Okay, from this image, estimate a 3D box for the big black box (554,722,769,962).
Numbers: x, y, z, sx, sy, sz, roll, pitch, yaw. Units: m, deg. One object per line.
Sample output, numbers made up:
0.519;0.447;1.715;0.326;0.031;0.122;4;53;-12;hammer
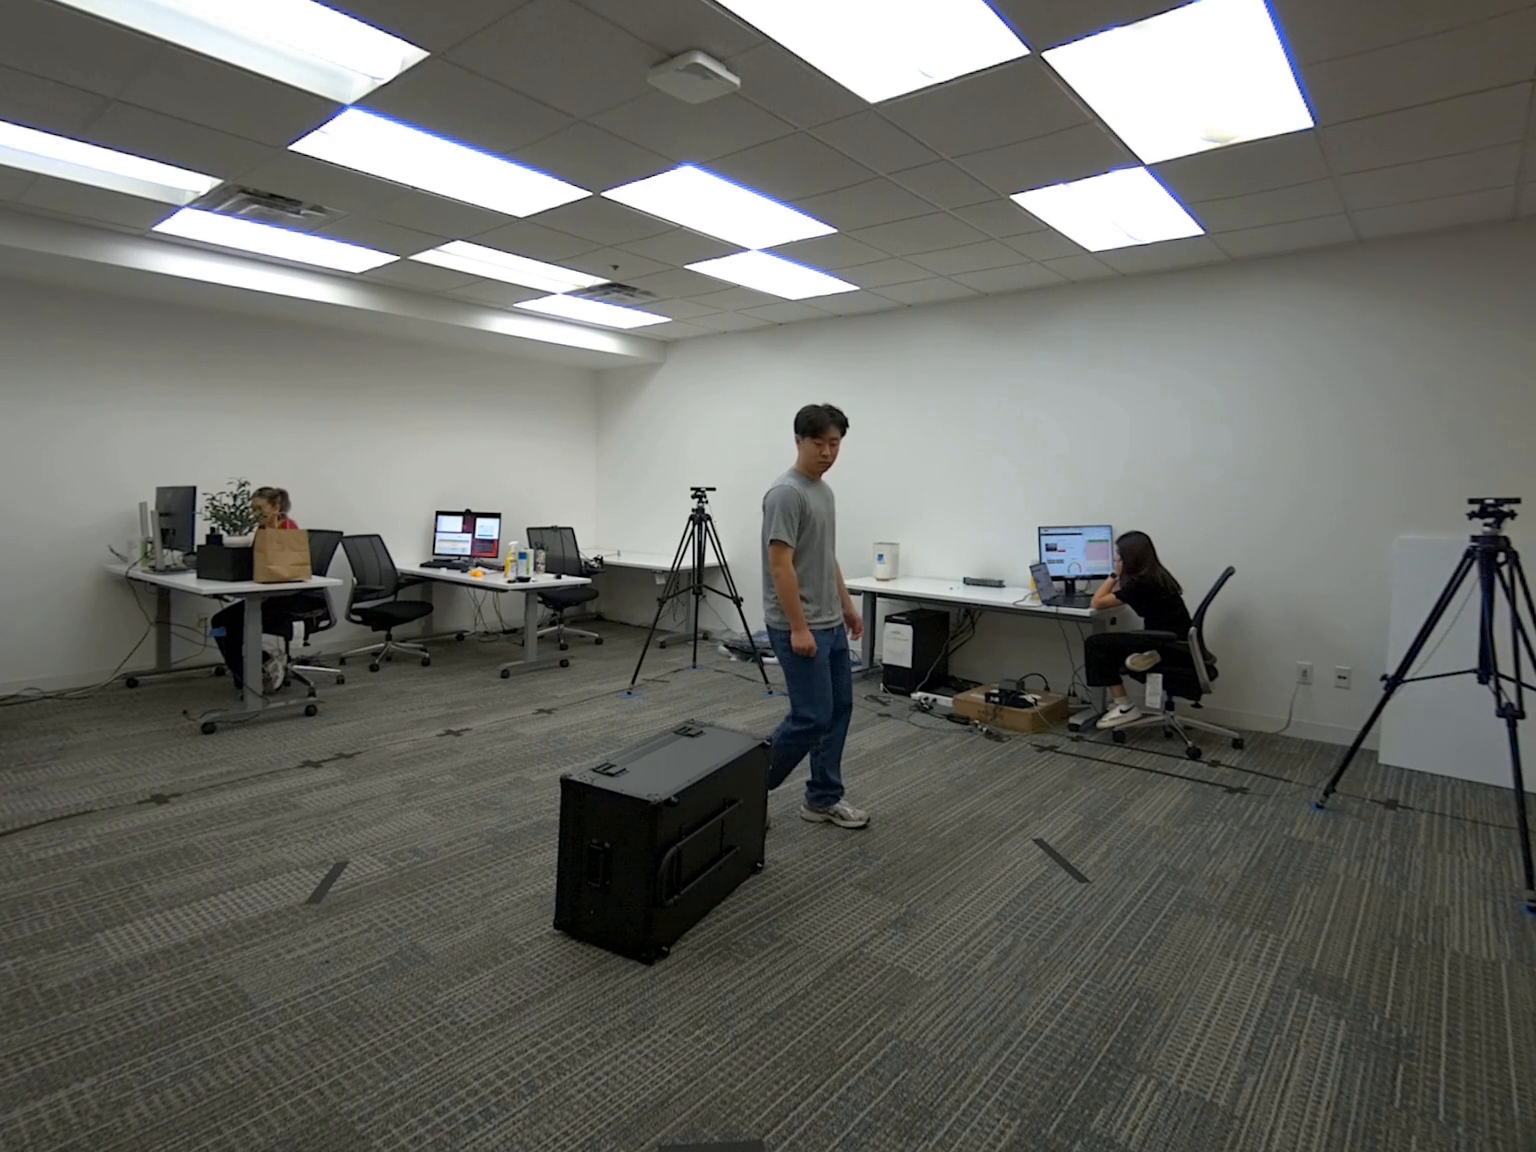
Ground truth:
-0.309;0.829;2.886;0.407;0.519;0.842;5;6;25;big black box
